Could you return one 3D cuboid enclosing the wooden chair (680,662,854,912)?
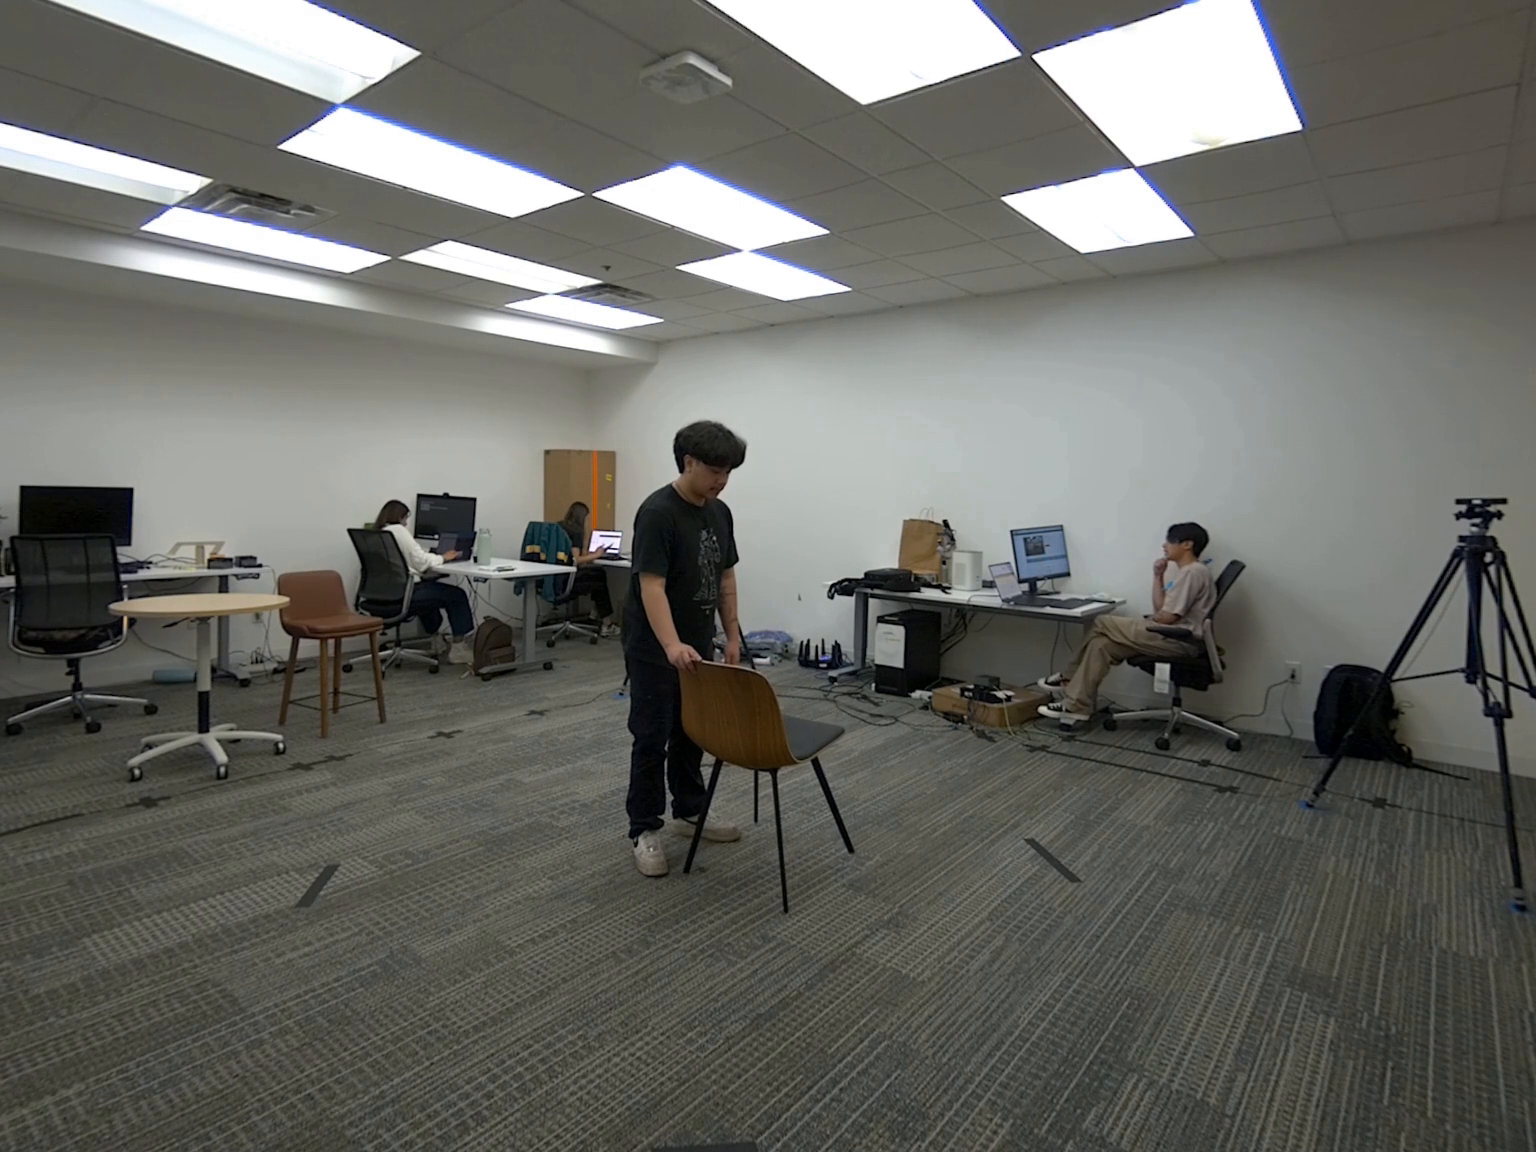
[{"bbox_3d":[-0.016,0.625,3.042,0.493,0.866,0.513,3,15,37],"label":"wooden chair"}]
